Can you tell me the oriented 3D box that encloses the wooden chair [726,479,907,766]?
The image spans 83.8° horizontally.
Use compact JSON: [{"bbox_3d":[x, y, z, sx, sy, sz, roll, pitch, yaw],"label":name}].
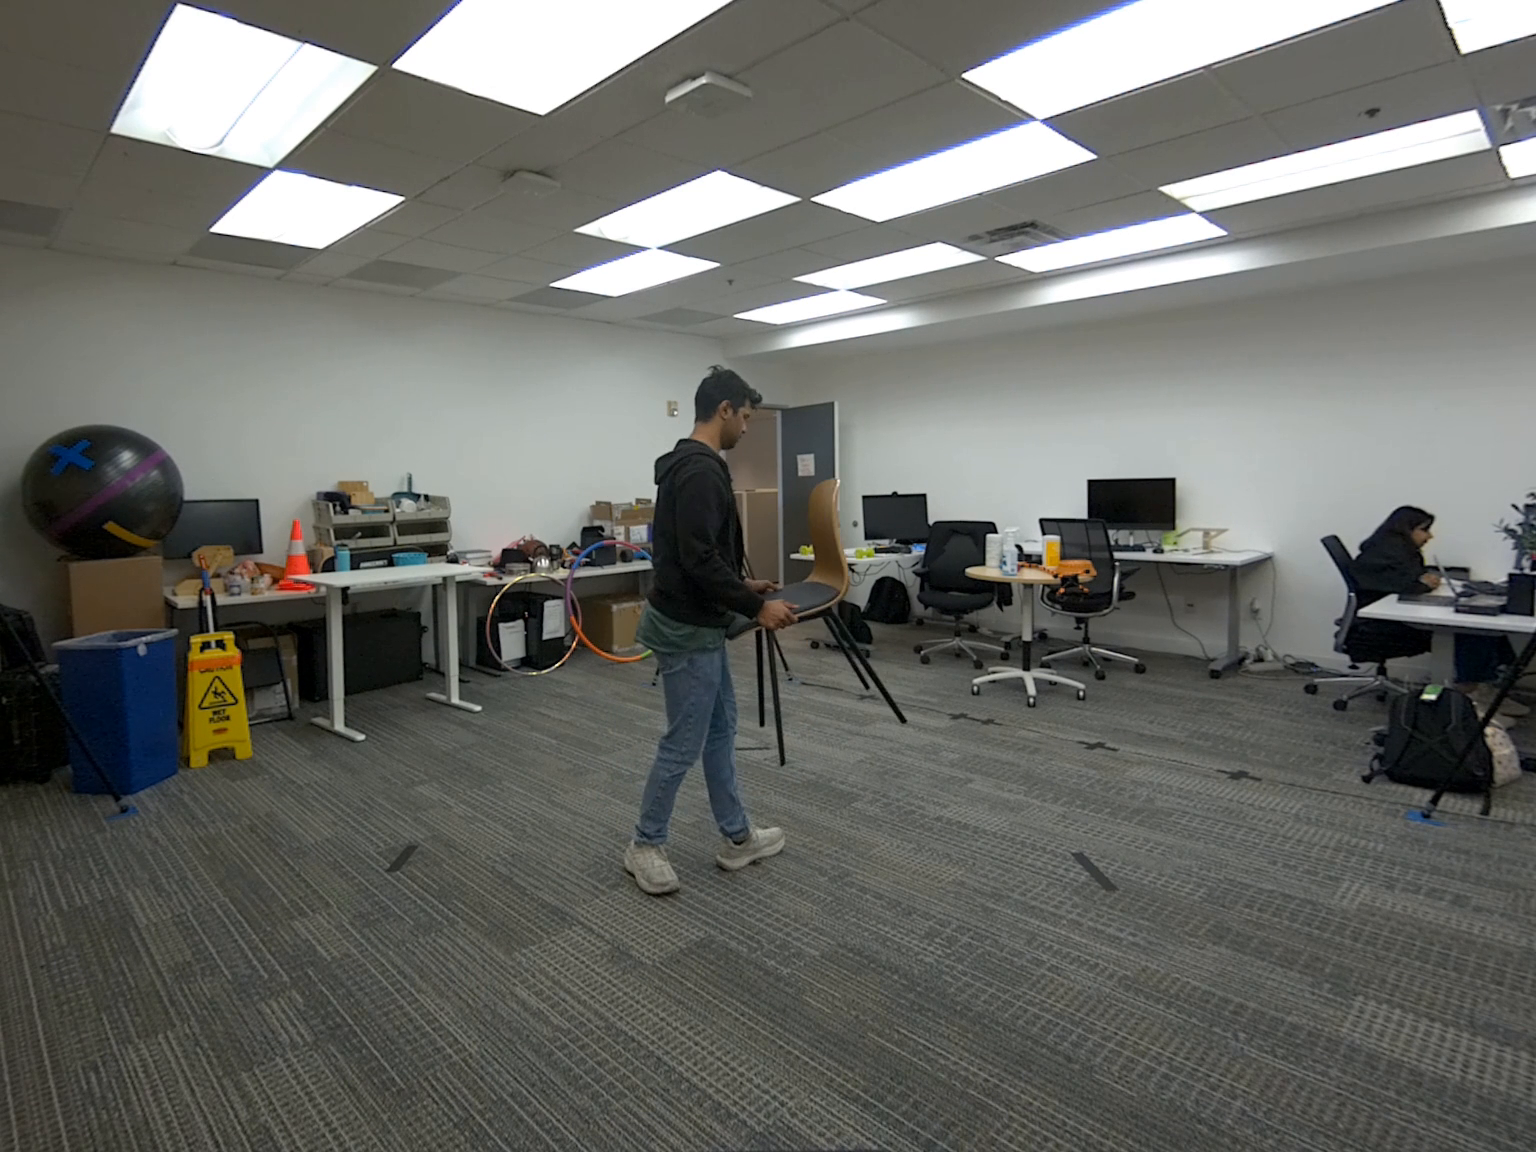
[{"bbox_3d":[0.098,0.149,3.017,0.521,0.870,0.484,-14,8,-7],"label":"wooden chair"}]
